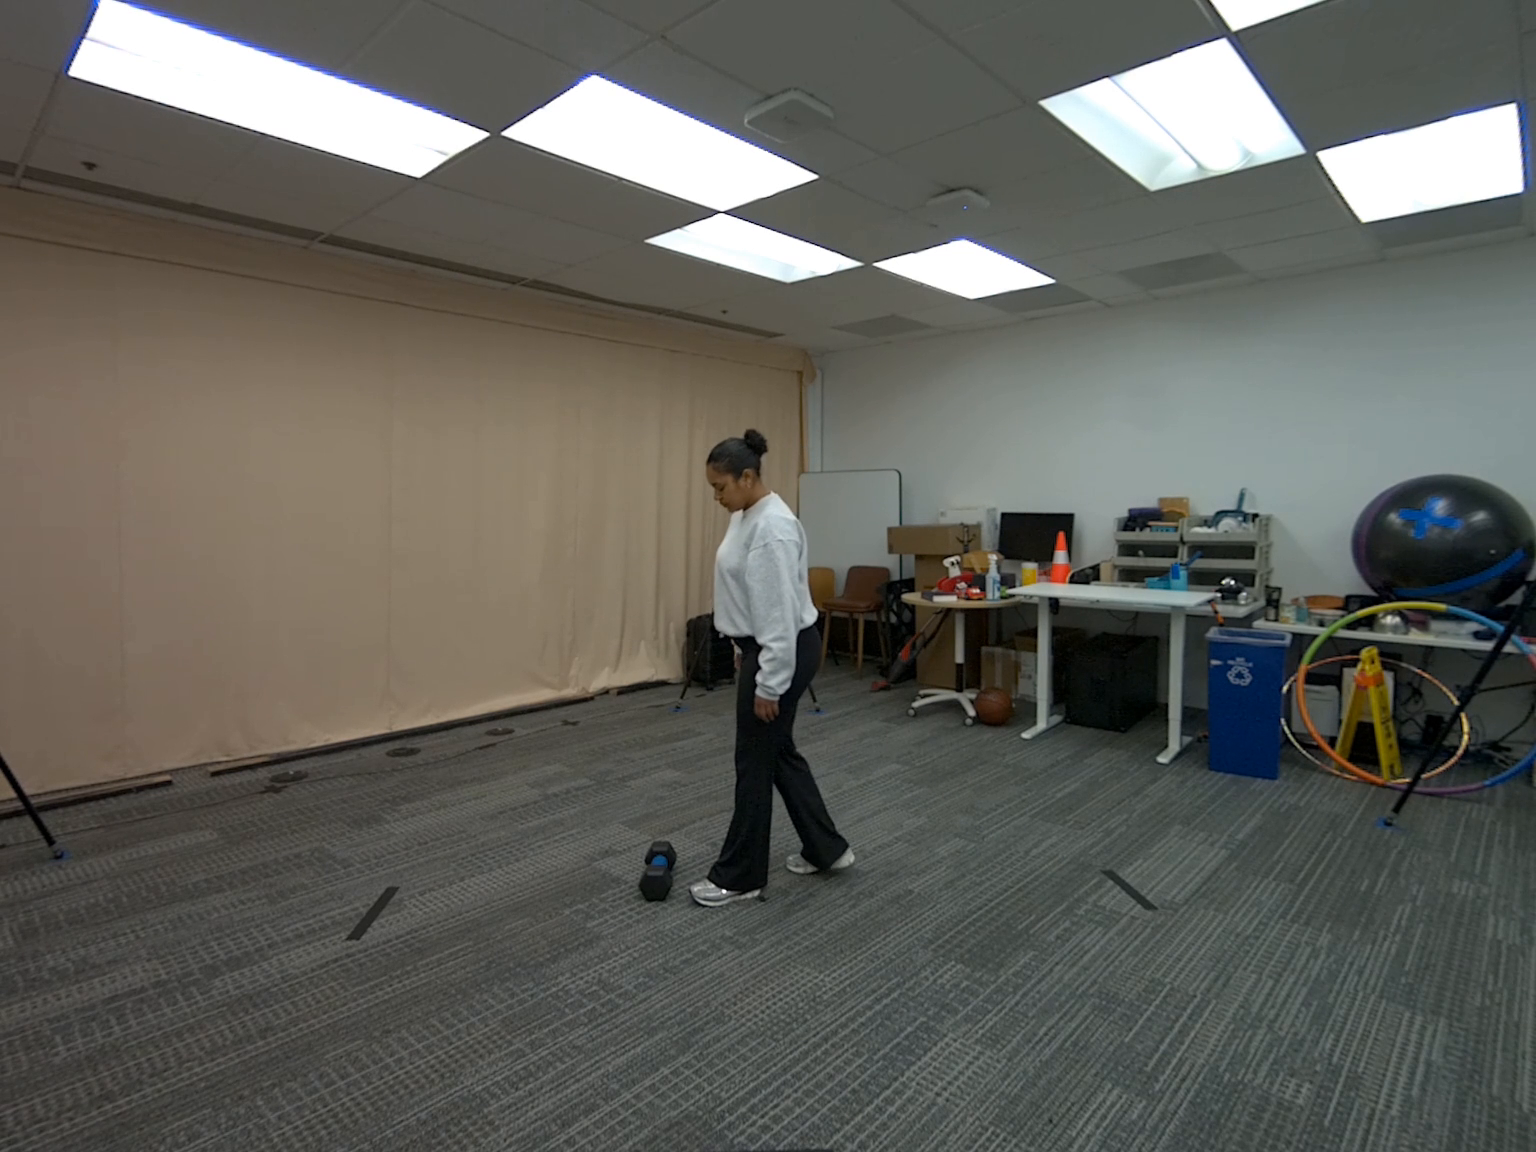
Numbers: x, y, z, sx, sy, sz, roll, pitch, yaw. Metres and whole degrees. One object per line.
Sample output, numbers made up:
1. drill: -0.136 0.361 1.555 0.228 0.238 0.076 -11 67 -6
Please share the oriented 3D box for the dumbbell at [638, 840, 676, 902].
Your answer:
1. dumbbell: -0.401 1.088 3.105 0.108 0.123 0.295 30 2 -5
